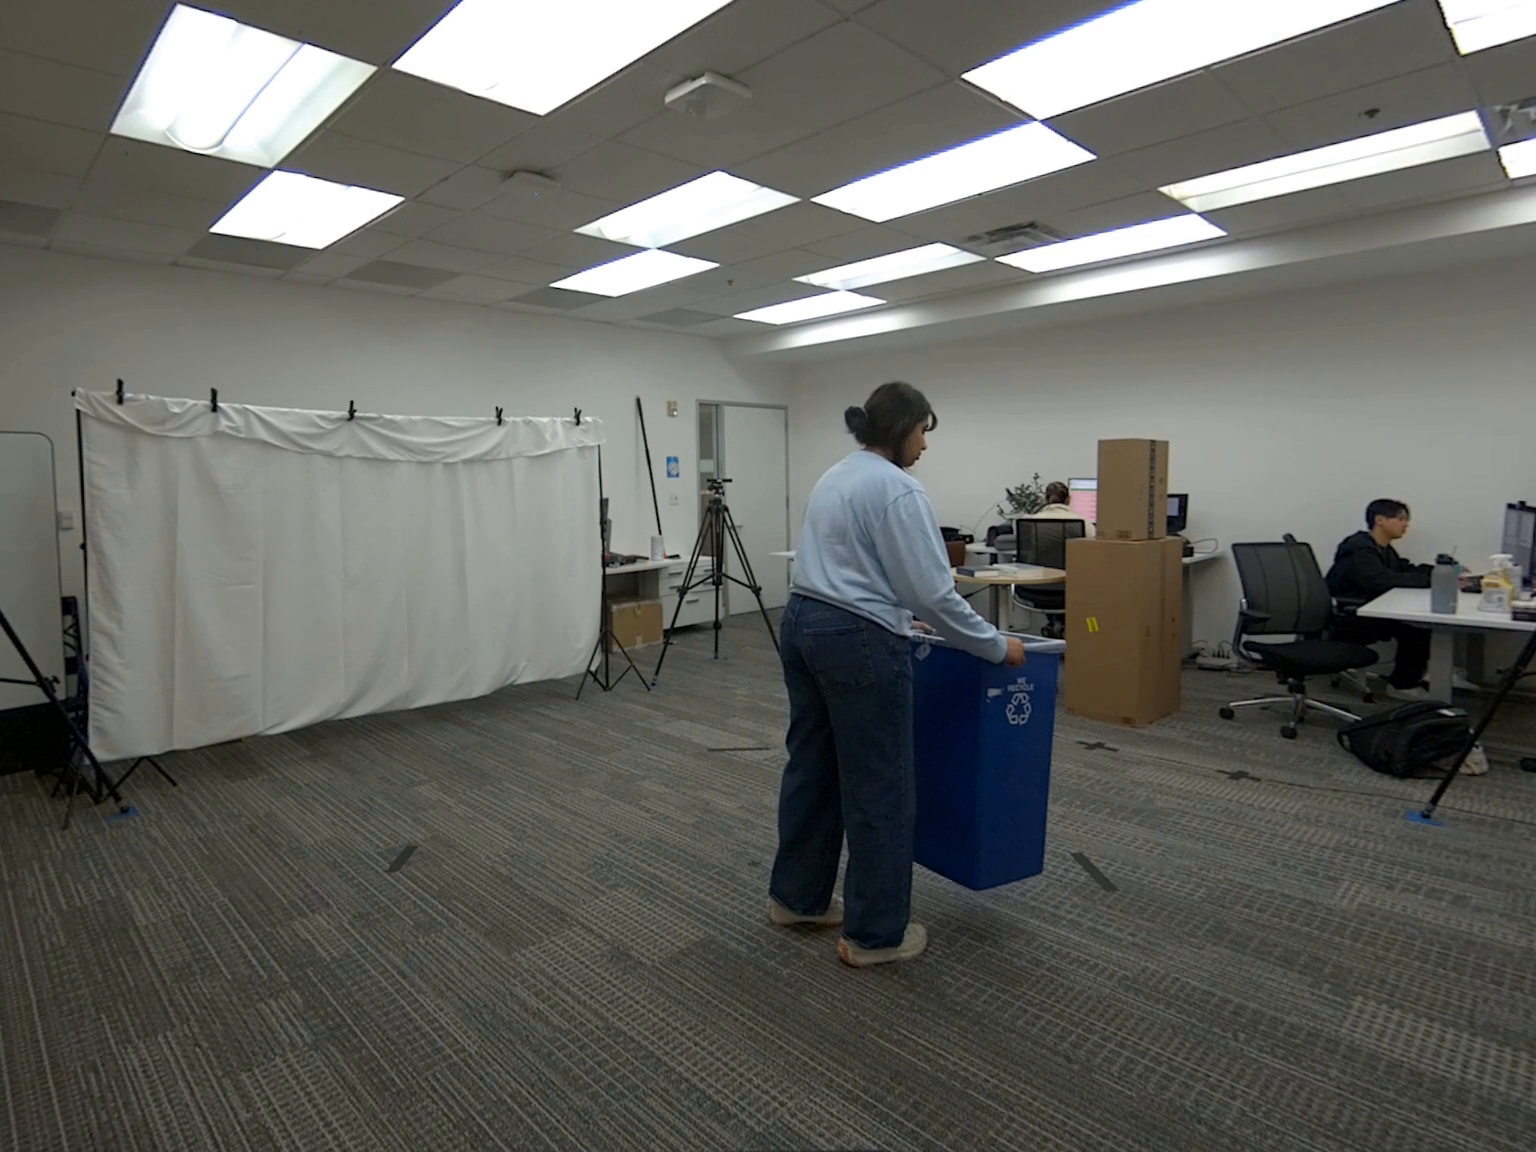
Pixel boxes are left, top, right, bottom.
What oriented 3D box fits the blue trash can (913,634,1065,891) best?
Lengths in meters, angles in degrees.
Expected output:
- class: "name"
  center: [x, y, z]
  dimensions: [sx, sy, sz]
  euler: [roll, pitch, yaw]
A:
- class: "blue trash can"
  center: [0.656, 0.544, 2.658]
  dimensions: [0.364, 0.713, 0.389]
  euler: [1, 2, -33]
